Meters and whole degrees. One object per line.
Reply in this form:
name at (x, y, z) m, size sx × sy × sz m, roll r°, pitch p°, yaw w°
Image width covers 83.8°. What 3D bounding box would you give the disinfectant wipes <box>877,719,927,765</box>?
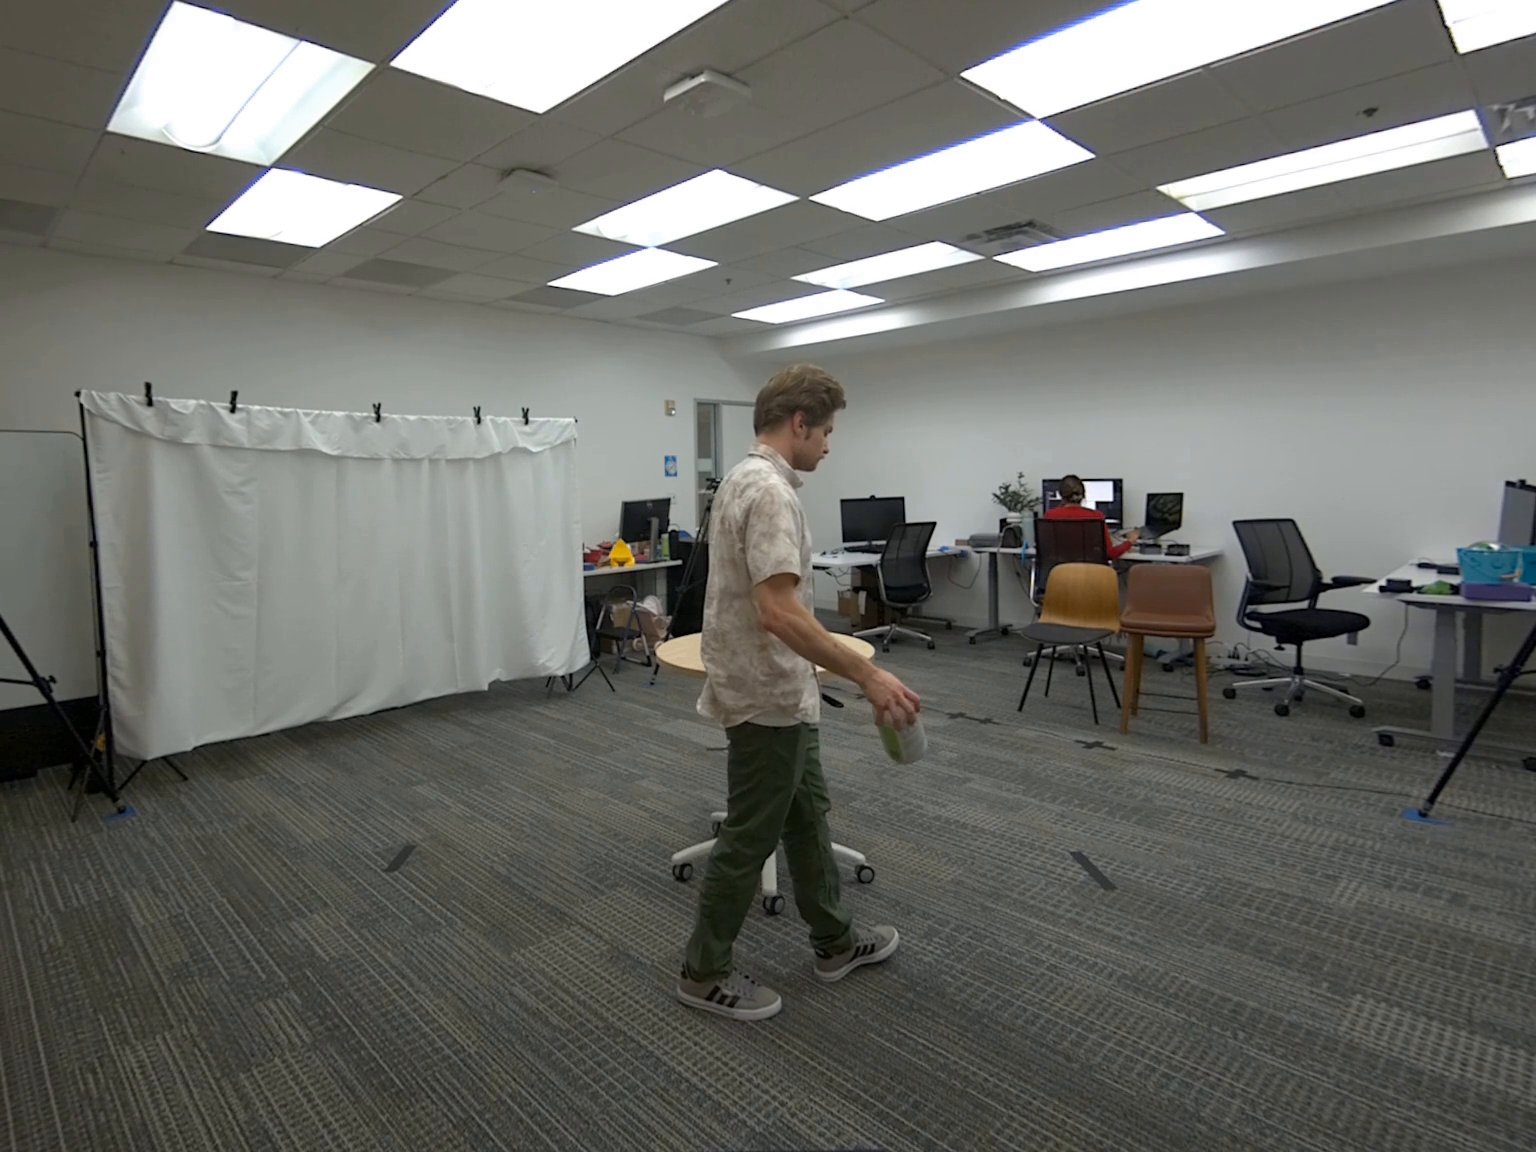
disinfectant wipes at (0.329, 0.364, 2.123) m, size 0.119 × 0.209 × 0.121 m, roll -13°, pitch 45°, yaw 11°
